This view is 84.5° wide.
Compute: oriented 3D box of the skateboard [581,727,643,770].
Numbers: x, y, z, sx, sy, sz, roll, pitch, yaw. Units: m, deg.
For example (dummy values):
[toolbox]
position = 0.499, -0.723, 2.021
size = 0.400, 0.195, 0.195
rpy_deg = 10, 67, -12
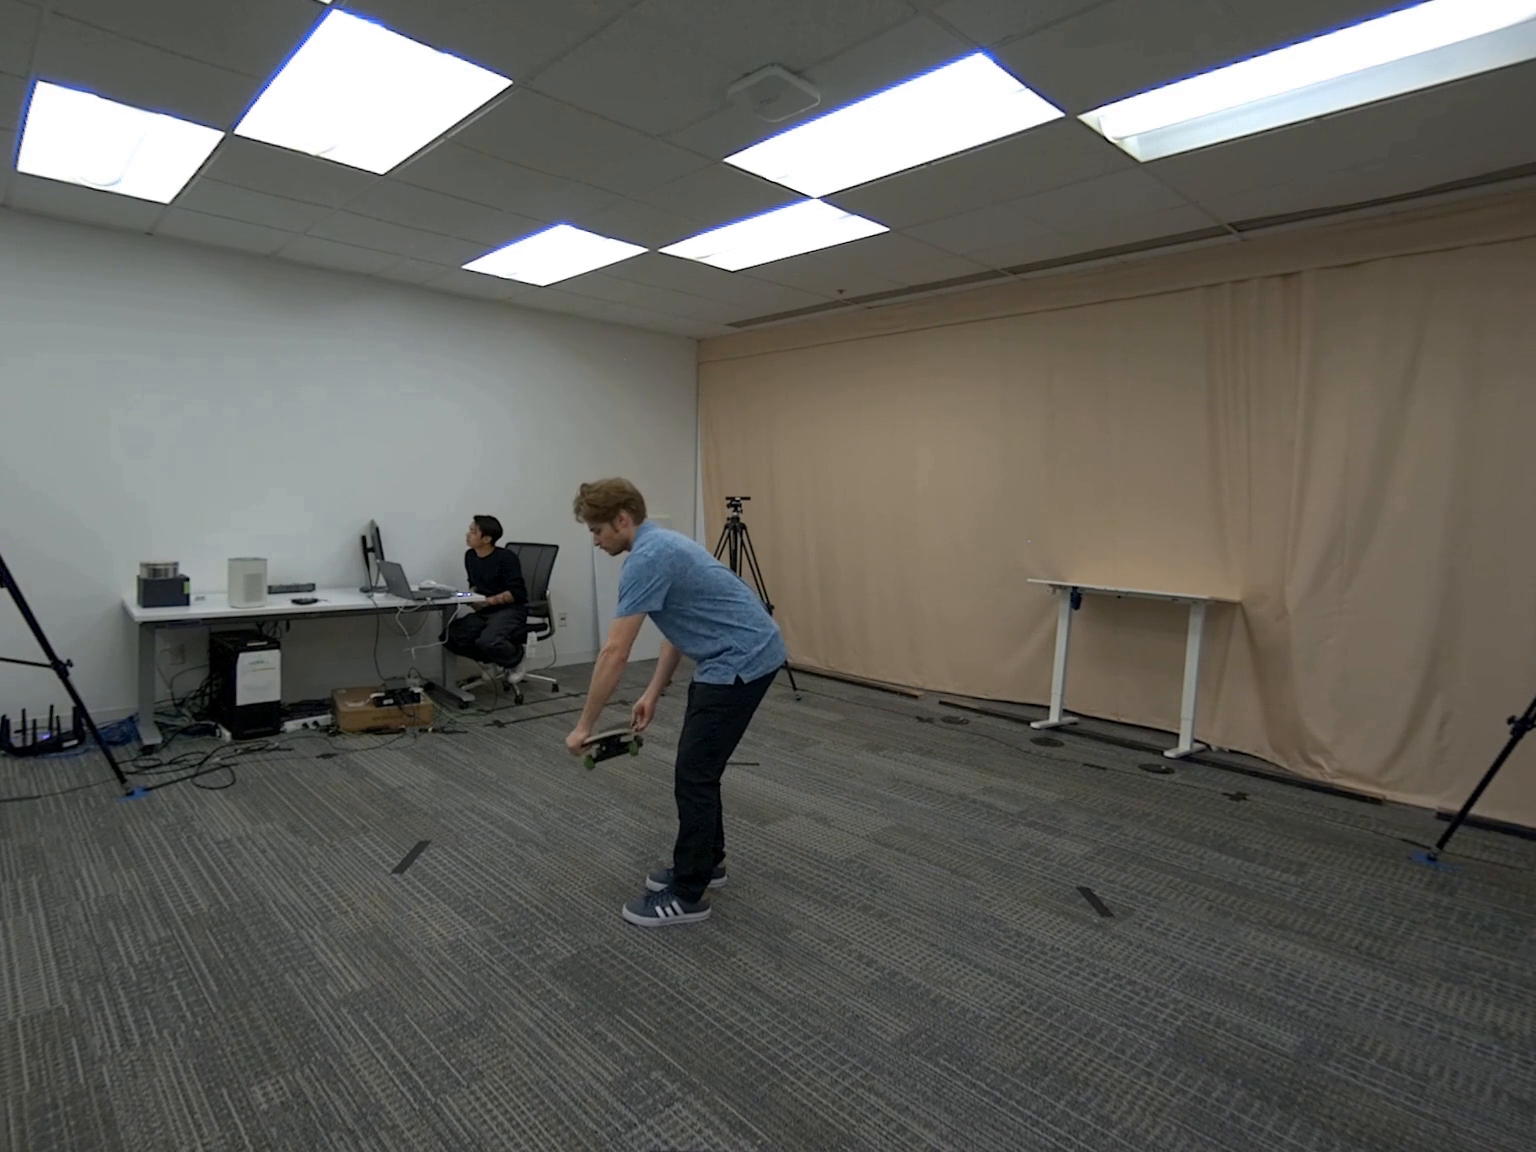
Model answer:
[skateboard]
position = -0.565, 0.605, 3.051
size = 0.192, 0.111, 0.784
rpy_deg = -16, -5, -9
